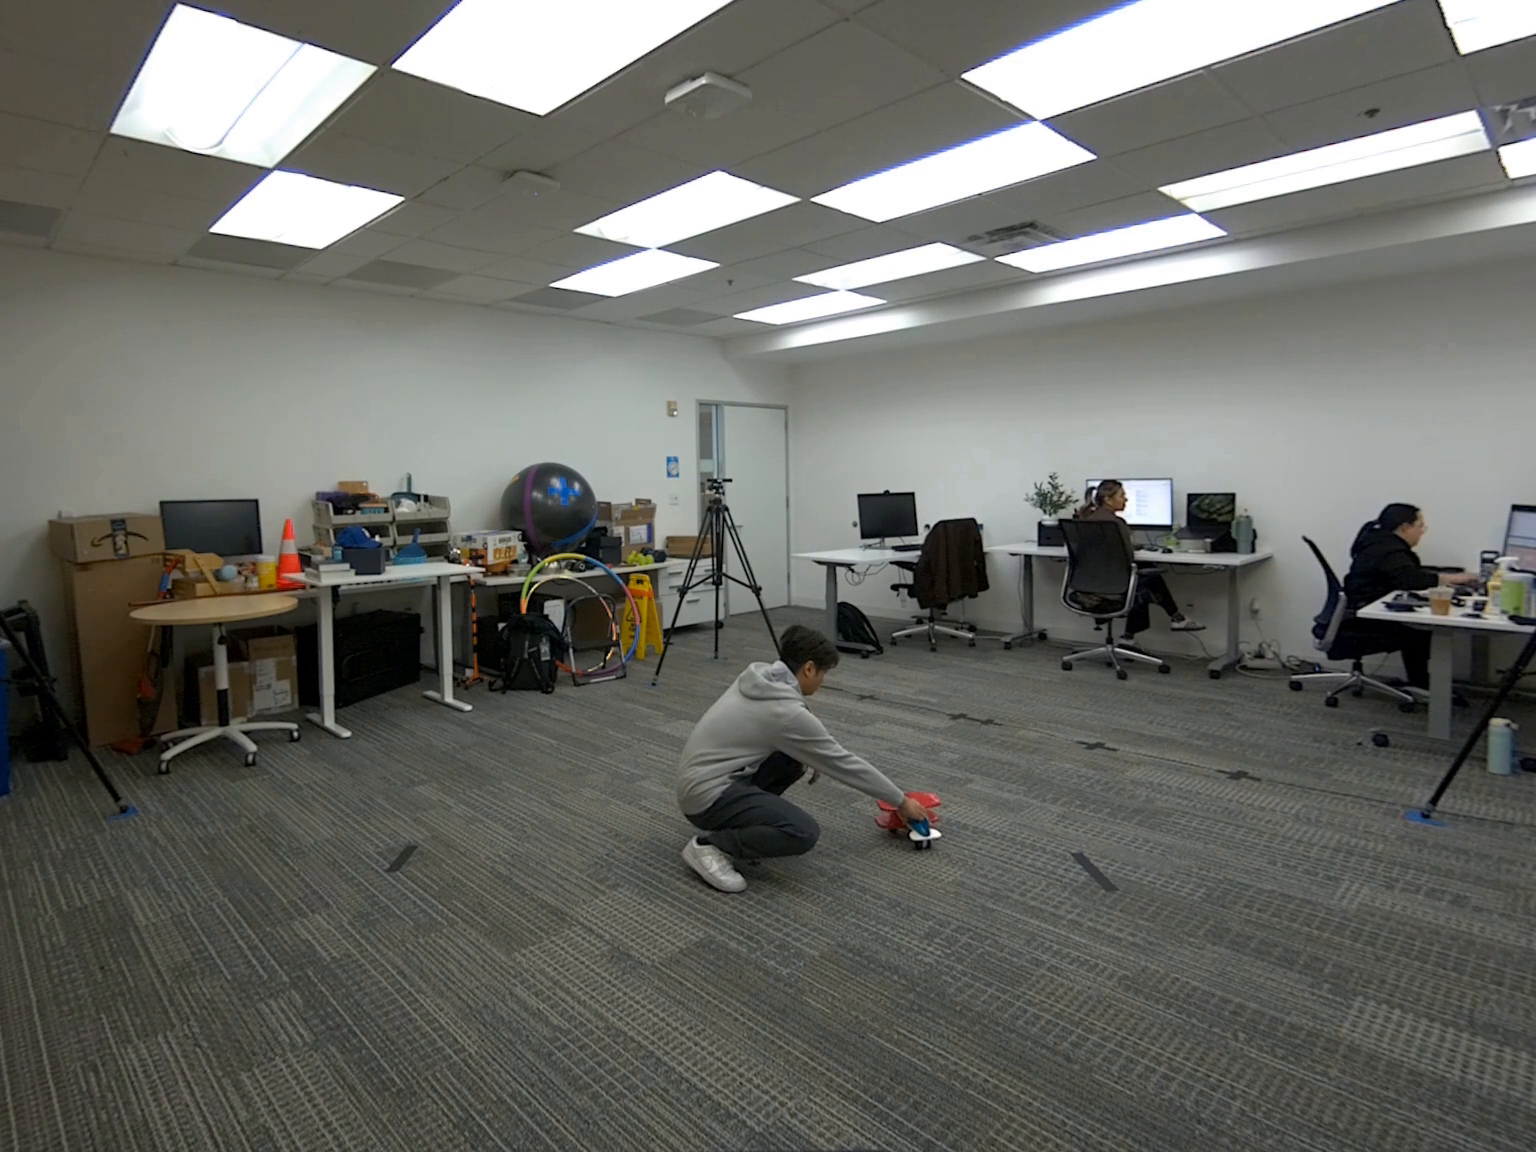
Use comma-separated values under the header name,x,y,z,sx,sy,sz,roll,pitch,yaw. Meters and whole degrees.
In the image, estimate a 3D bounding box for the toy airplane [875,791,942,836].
name,x,y,z,sx,sy,sz,roll,pitch,yaw
toy airplane,0.570,0.937,3.291,0.244,0.156,0.267,-5,6,-41
